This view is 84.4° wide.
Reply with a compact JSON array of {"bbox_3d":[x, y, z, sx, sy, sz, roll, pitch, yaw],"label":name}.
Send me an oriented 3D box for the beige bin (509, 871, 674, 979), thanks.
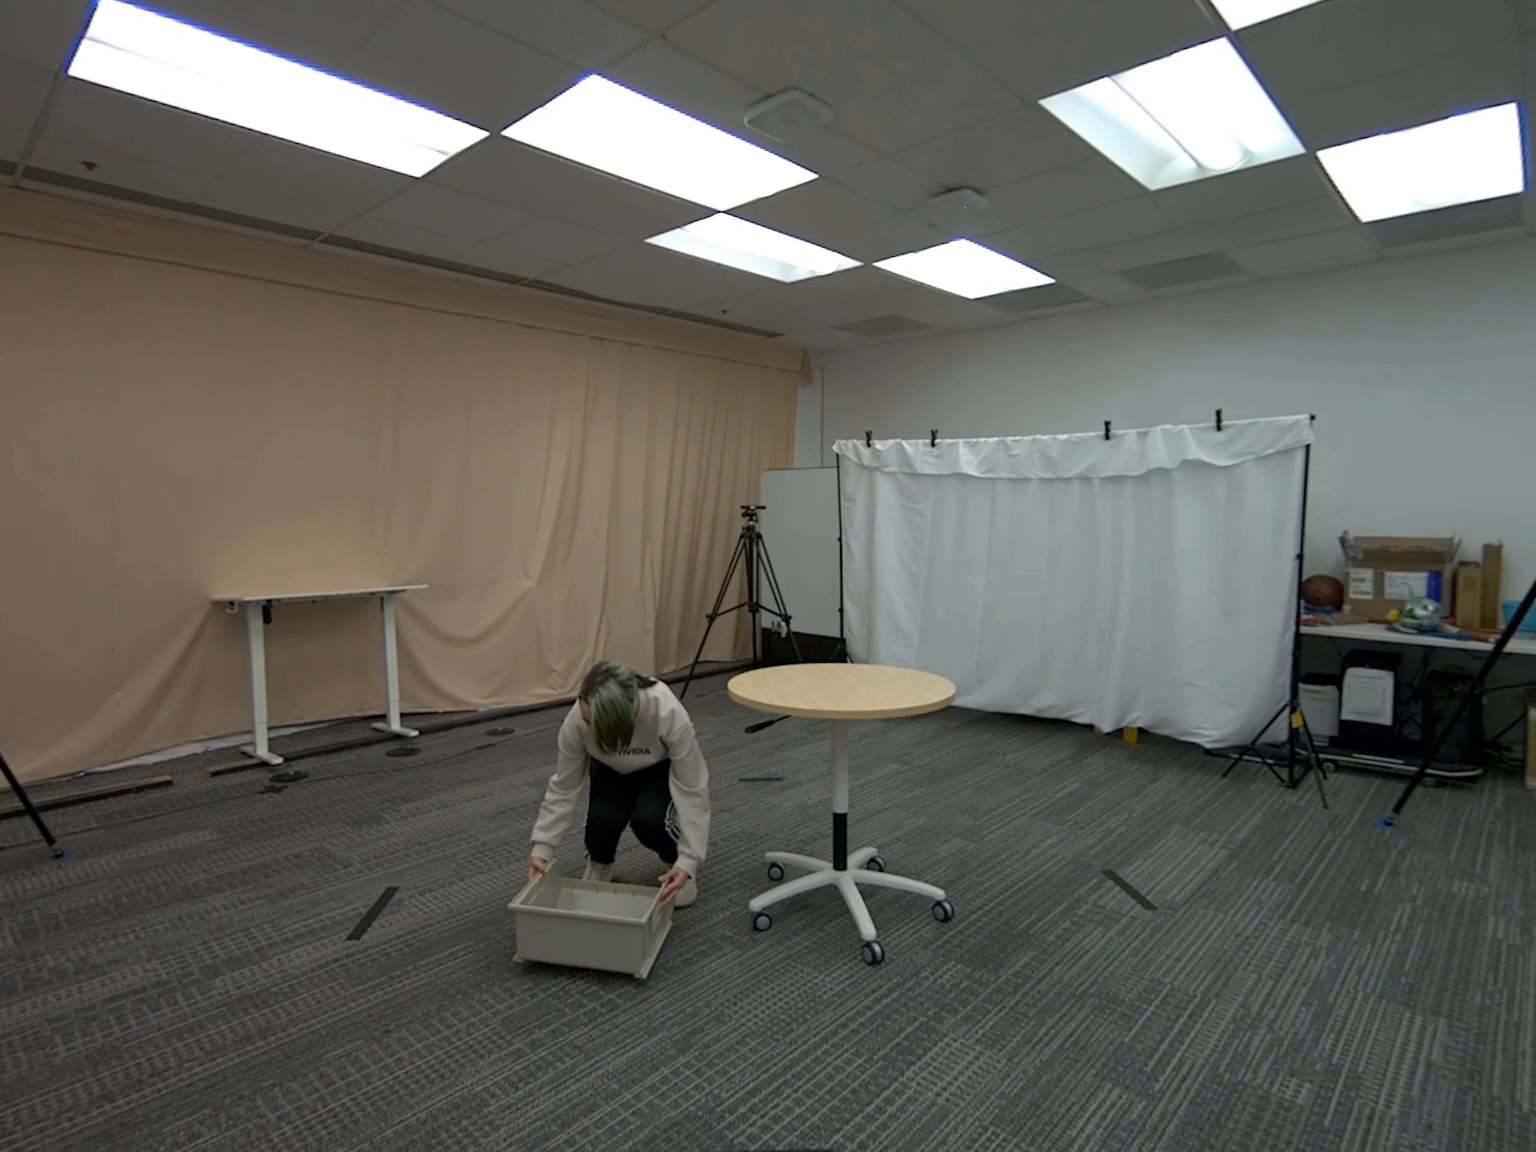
[{"bbox_3d":[-0.531,1.036,2.624,0.427,0.188,0.374,2,7,9],"label":"beige bin"}]
